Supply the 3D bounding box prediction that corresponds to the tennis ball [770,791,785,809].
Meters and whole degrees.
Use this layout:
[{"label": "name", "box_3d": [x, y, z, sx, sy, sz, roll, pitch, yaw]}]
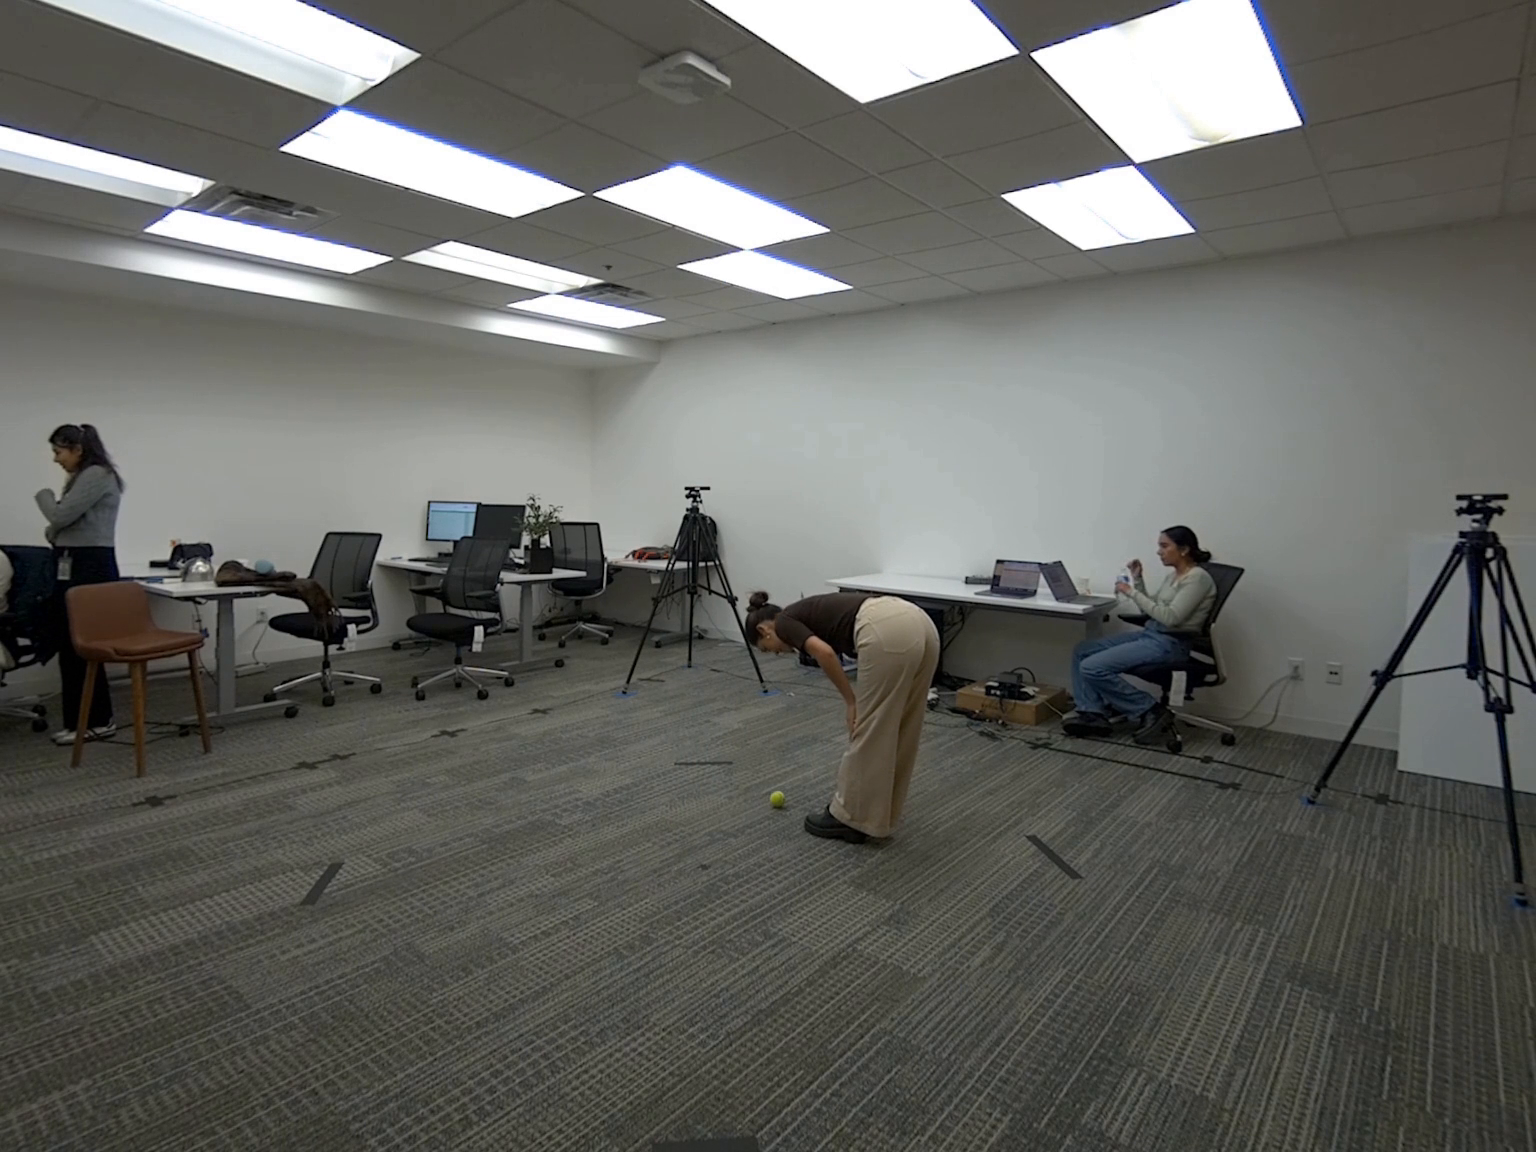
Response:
[{"label": "tennis ball", "box_3d": [0.035, 0.973, 3.720, 0.066, 0.066, 0.067, 1, 4, -2]}]
